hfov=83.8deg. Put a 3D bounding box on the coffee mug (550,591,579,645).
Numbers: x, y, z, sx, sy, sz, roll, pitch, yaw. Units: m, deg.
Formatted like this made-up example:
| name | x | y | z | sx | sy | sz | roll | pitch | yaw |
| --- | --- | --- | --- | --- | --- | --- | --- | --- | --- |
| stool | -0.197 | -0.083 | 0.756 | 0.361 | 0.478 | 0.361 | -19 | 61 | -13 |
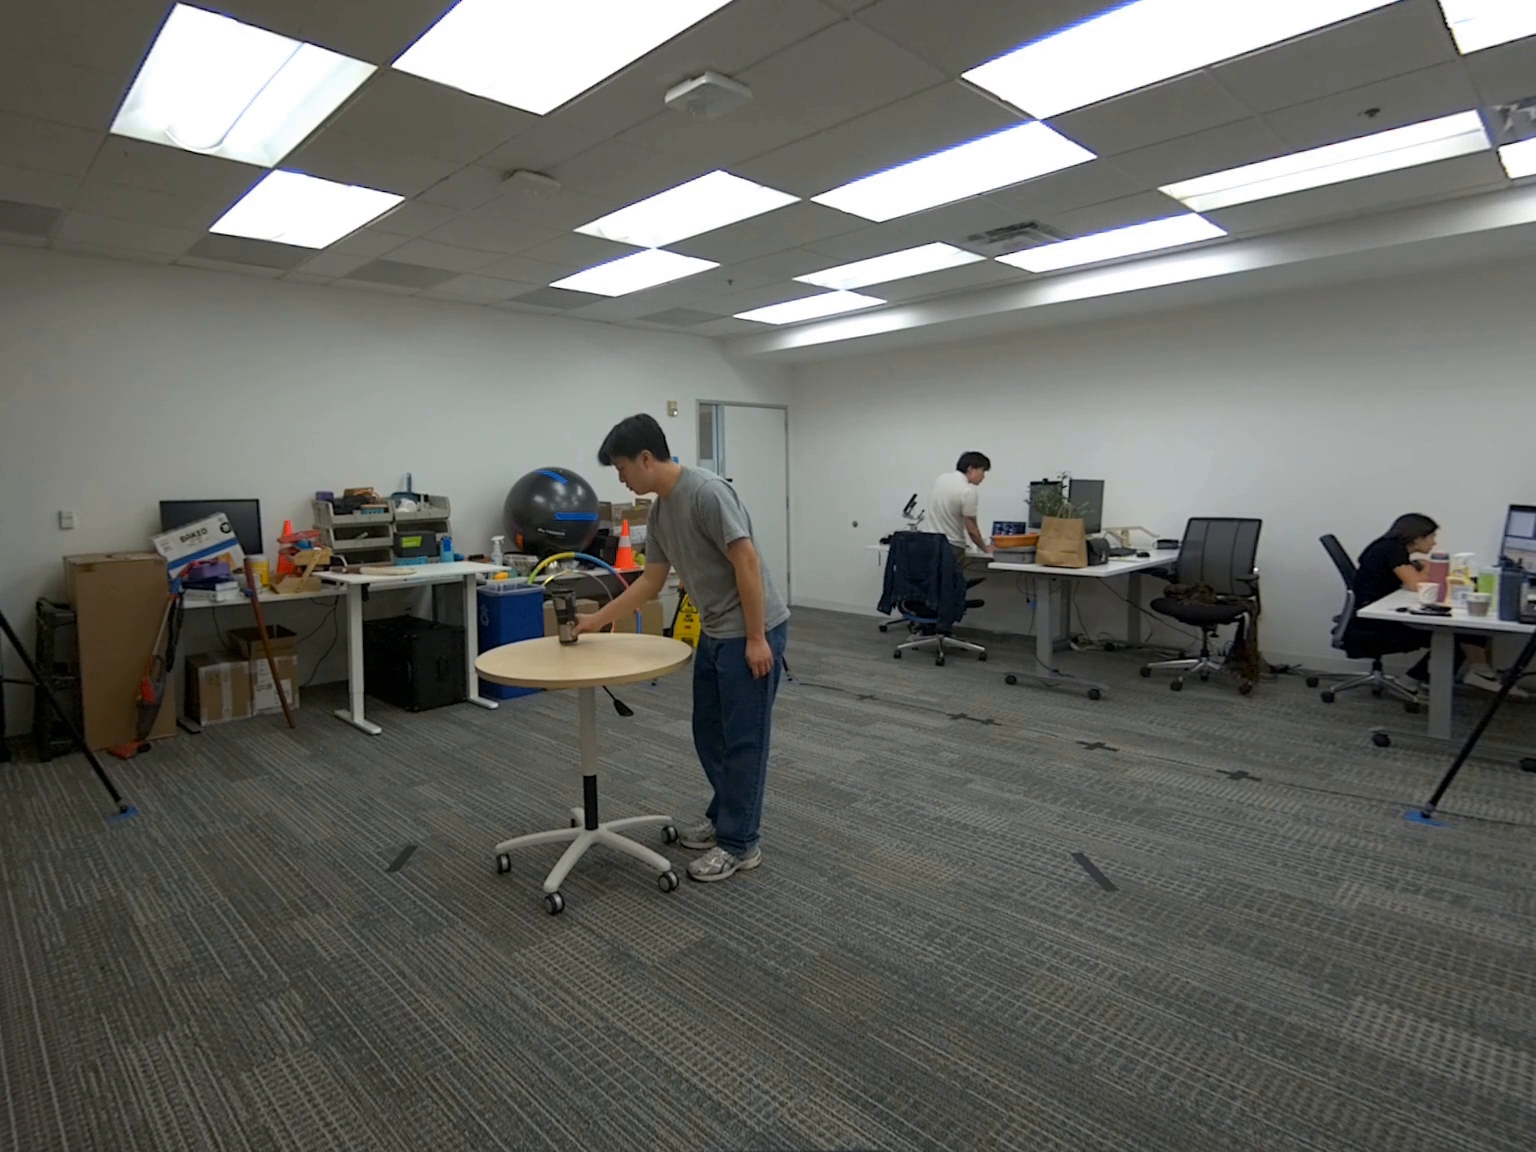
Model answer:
| name | x | y | z | sx | sy | sz | roll | pitch | yaw |
| --- | --- | --- | --- | --- | --- | --- | --- | --- | --- |
| coffee mug | -0.760 | 0.147 | 3.200 | 0.089 | 0.203 | 0.121 | 0 | 2 | 9 |
